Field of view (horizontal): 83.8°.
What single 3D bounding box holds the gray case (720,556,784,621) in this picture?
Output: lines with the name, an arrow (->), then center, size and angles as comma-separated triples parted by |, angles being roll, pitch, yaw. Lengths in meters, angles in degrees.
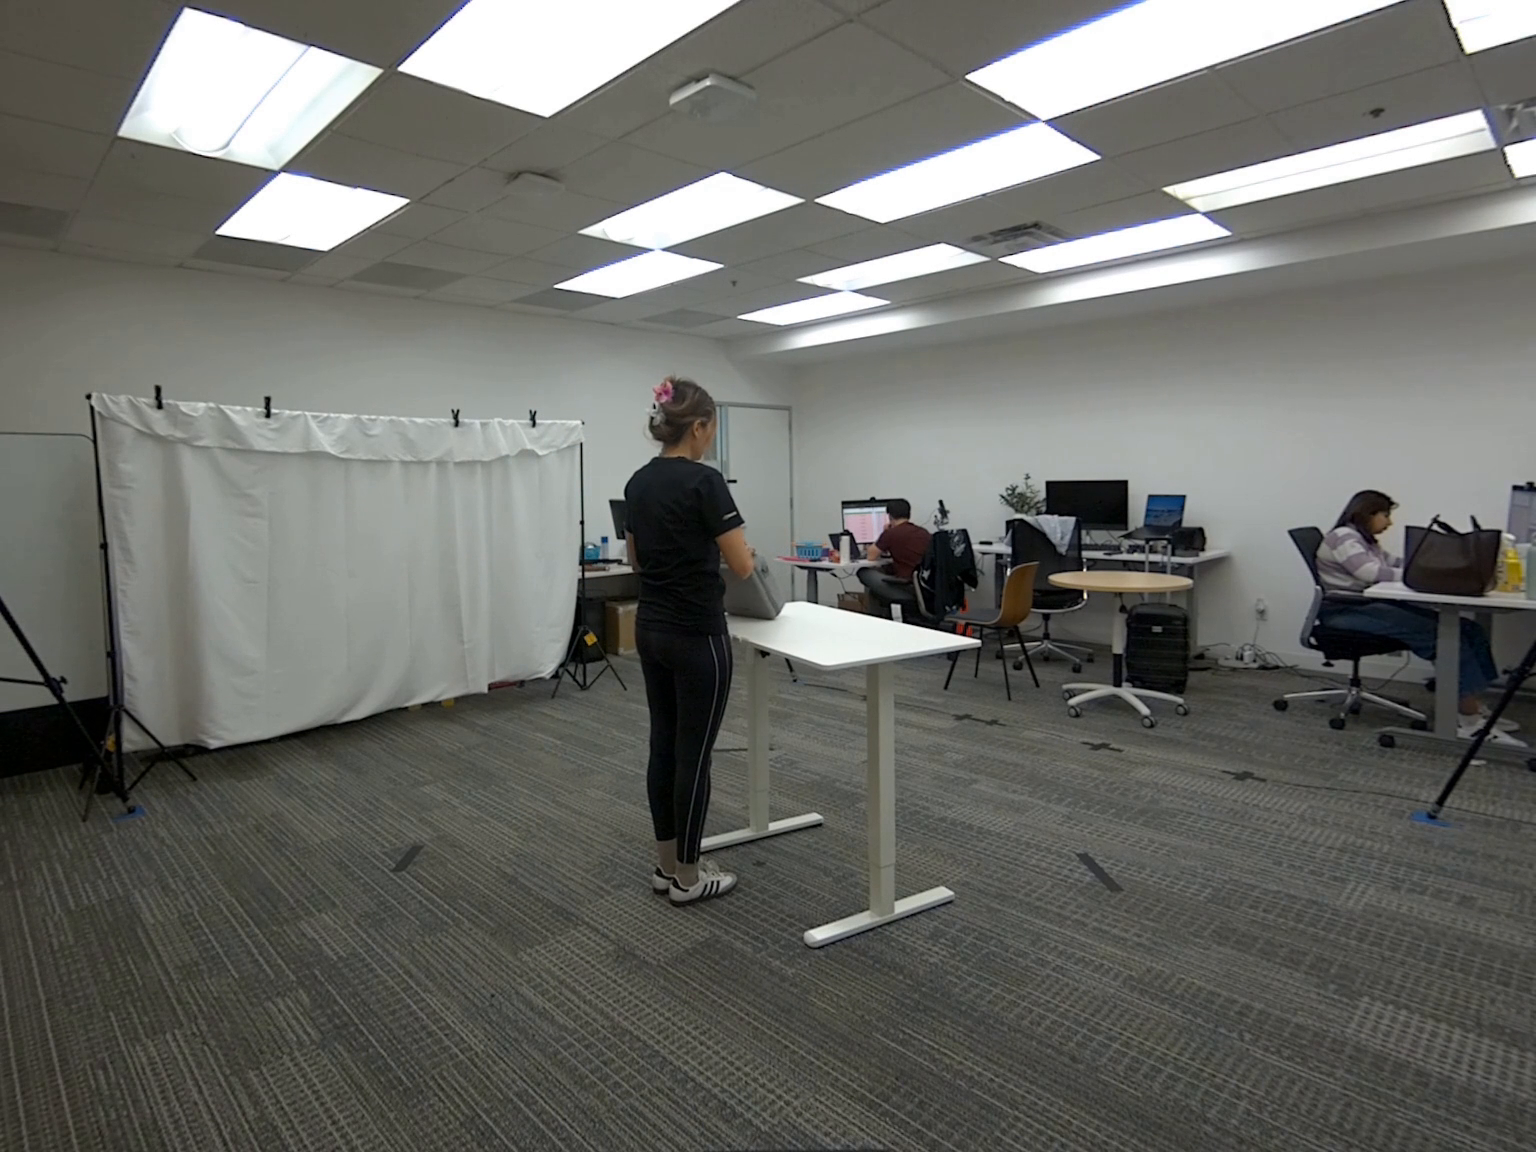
gray case -> -0.087, 0.032, 3.155 | 0.265, 0.253, 0.104 | 6, 40, 42
